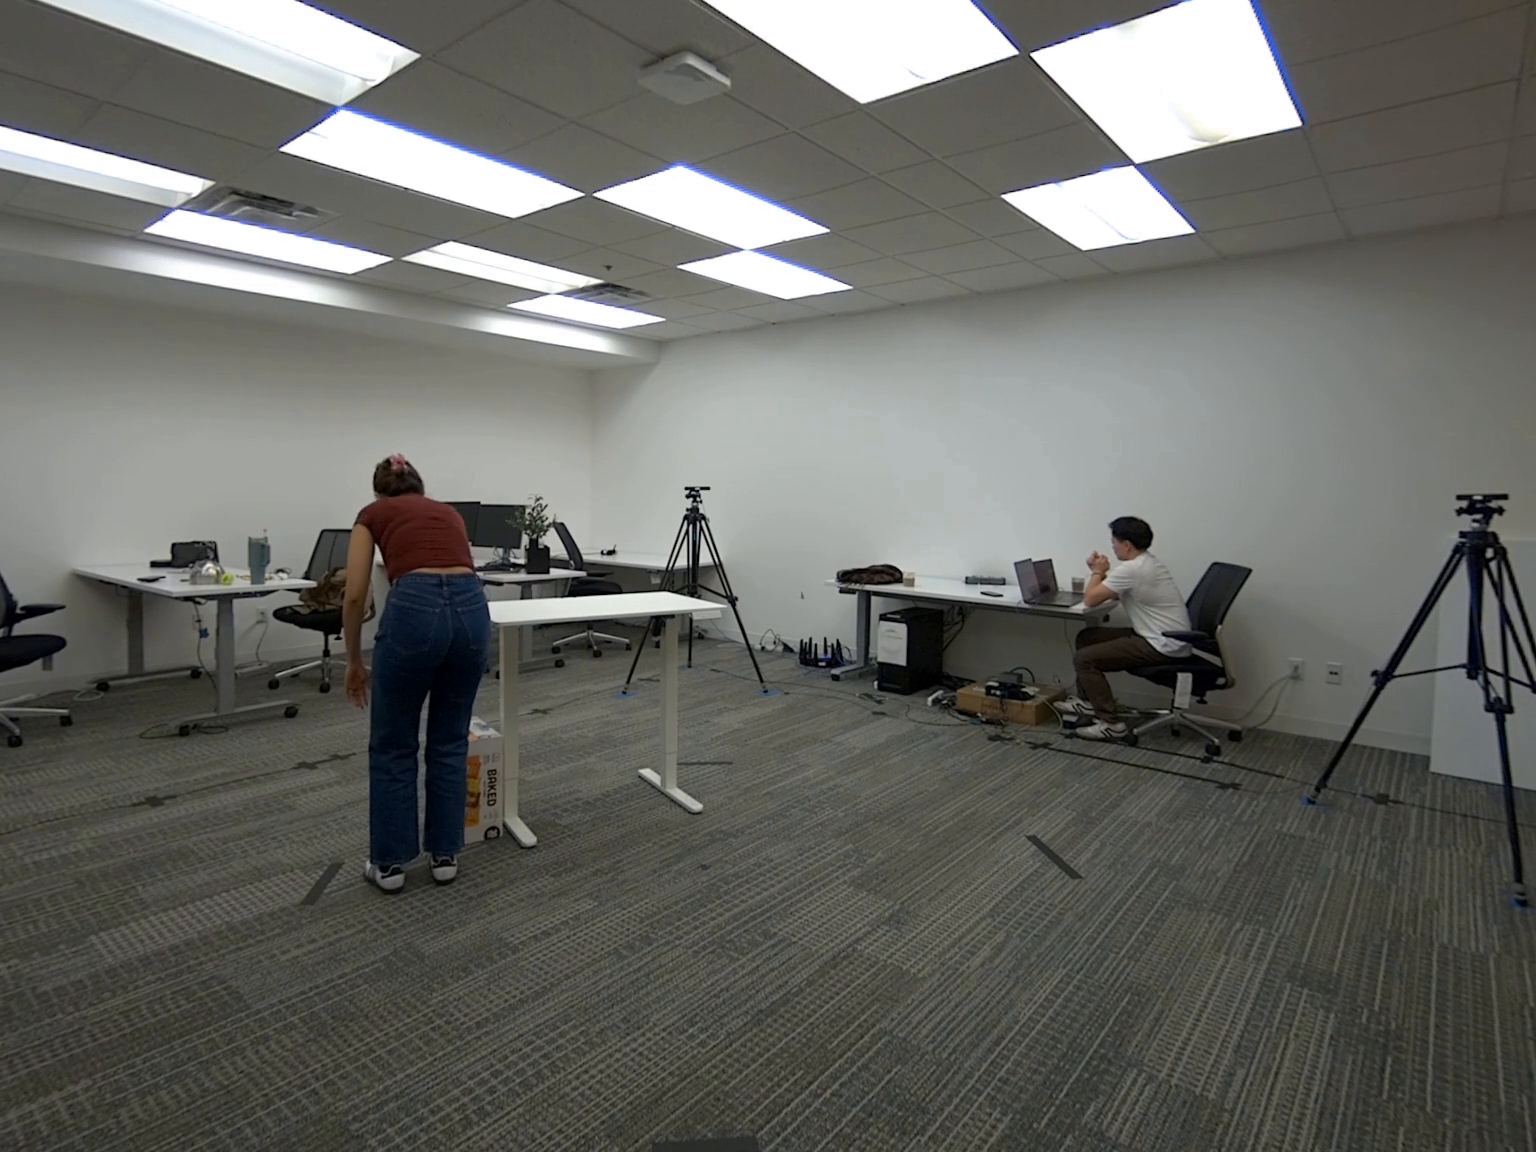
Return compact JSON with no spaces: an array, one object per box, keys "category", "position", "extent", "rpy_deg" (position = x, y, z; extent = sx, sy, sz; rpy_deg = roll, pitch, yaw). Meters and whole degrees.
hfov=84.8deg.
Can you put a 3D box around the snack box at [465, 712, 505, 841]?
[{"category":"snack box","position":[-1.238,0.807,3.434],"extent":[0.200,0.404,0.351],"rpy_deg":[0,5,-35]}]
